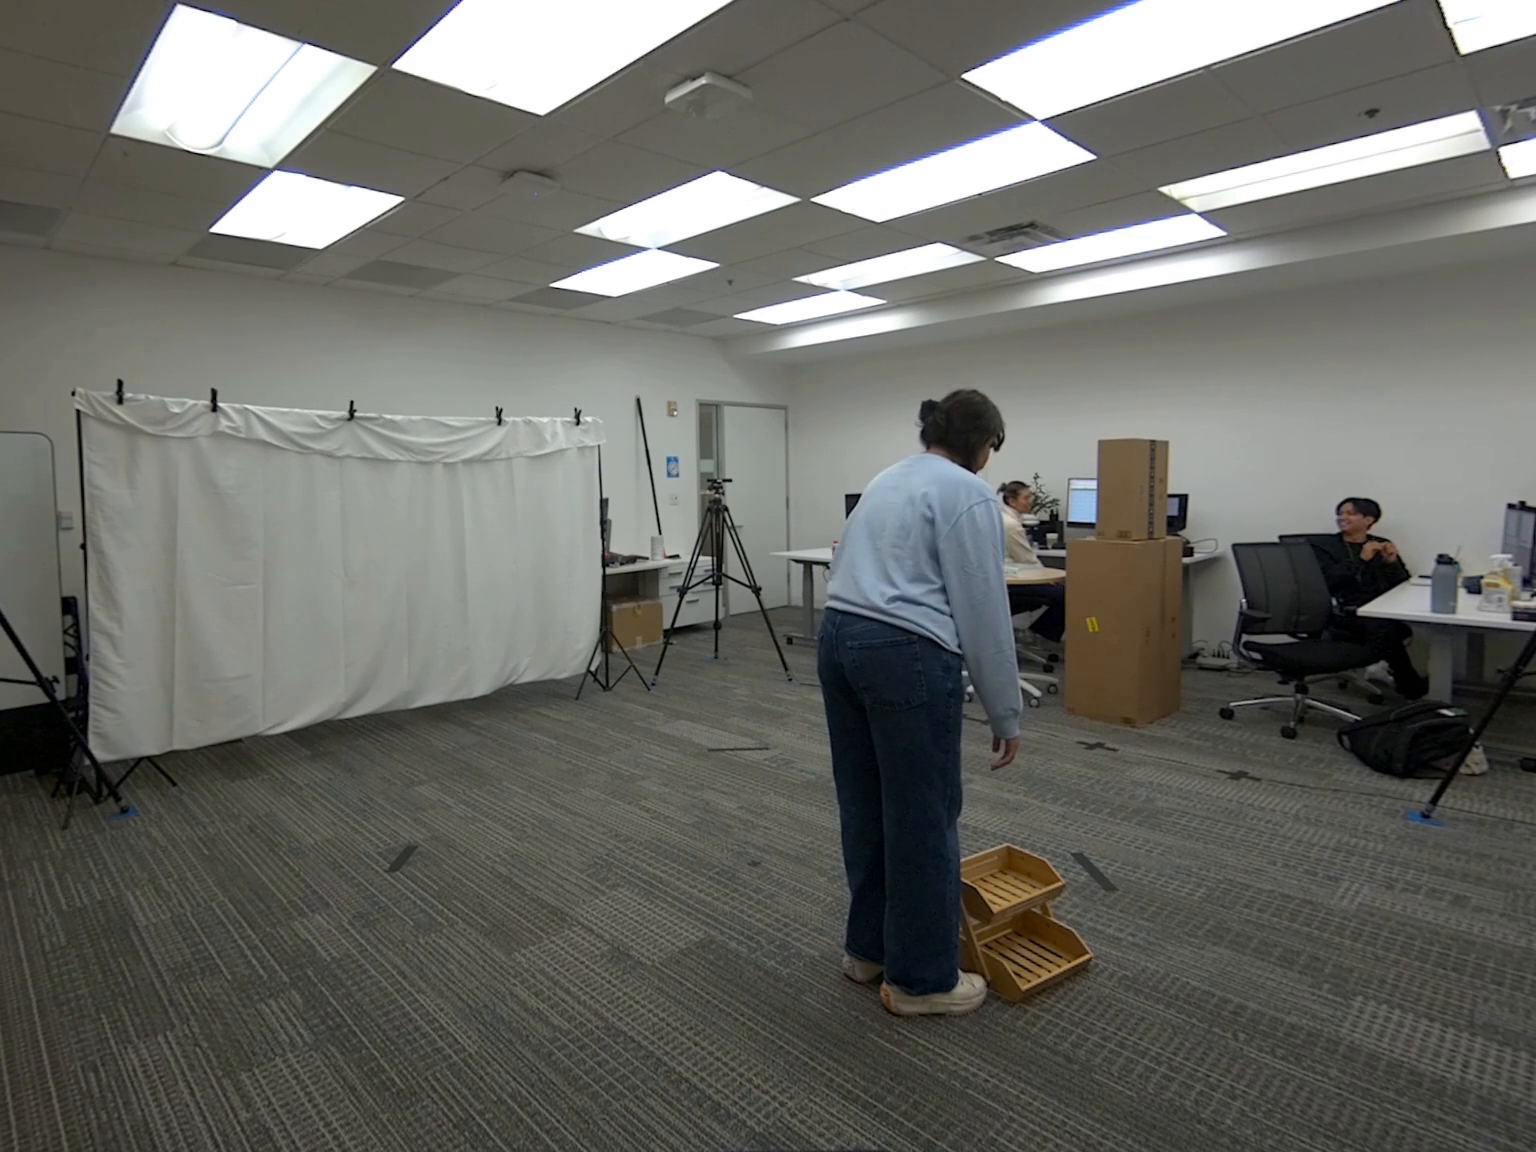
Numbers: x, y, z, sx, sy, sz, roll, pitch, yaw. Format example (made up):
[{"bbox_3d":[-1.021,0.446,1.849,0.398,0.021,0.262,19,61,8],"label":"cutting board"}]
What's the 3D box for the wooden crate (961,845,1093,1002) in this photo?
[{"bbox_3d":[0.715,0.979,2.431,0.317,0.272,0.311,-5,6,-33],"label":"wooden crate"}]
